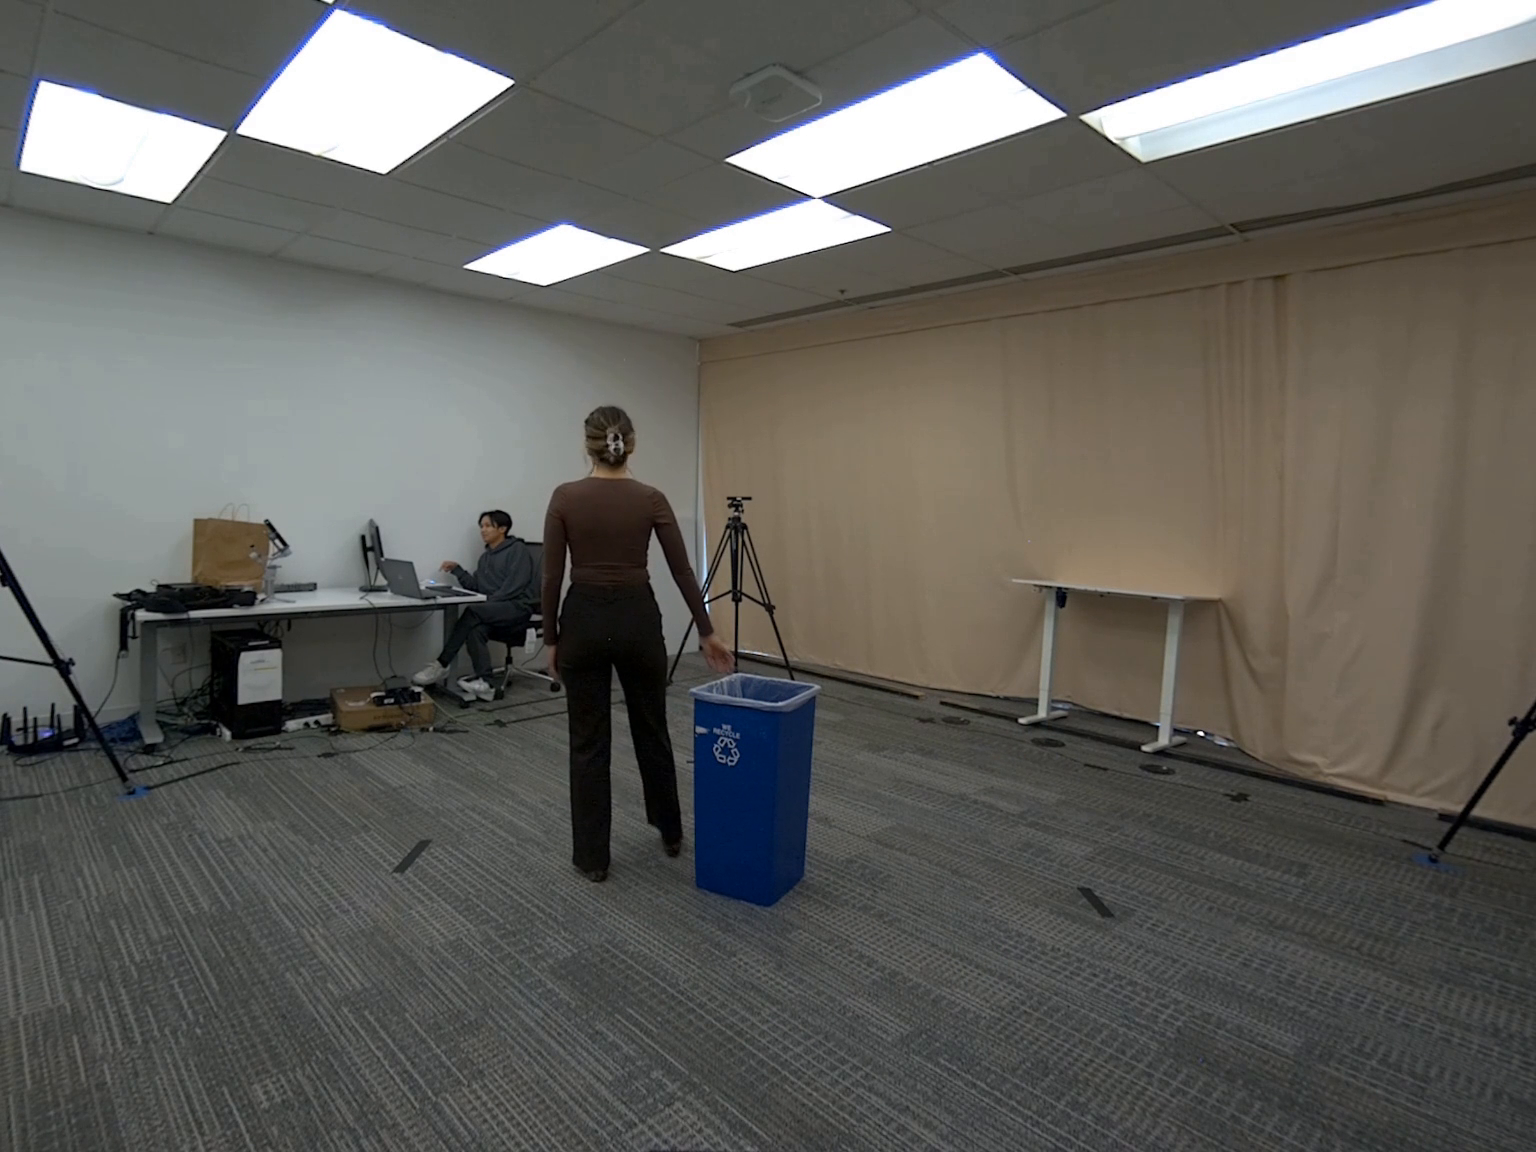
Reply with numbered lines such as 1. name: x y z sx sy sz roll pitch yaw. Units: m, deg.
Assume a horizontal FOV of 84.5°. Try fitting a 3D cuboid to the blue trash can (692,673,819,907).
1. blue trash can: -0.061 0.754 3.048 0.386 0.711 0.368 4 5 26
